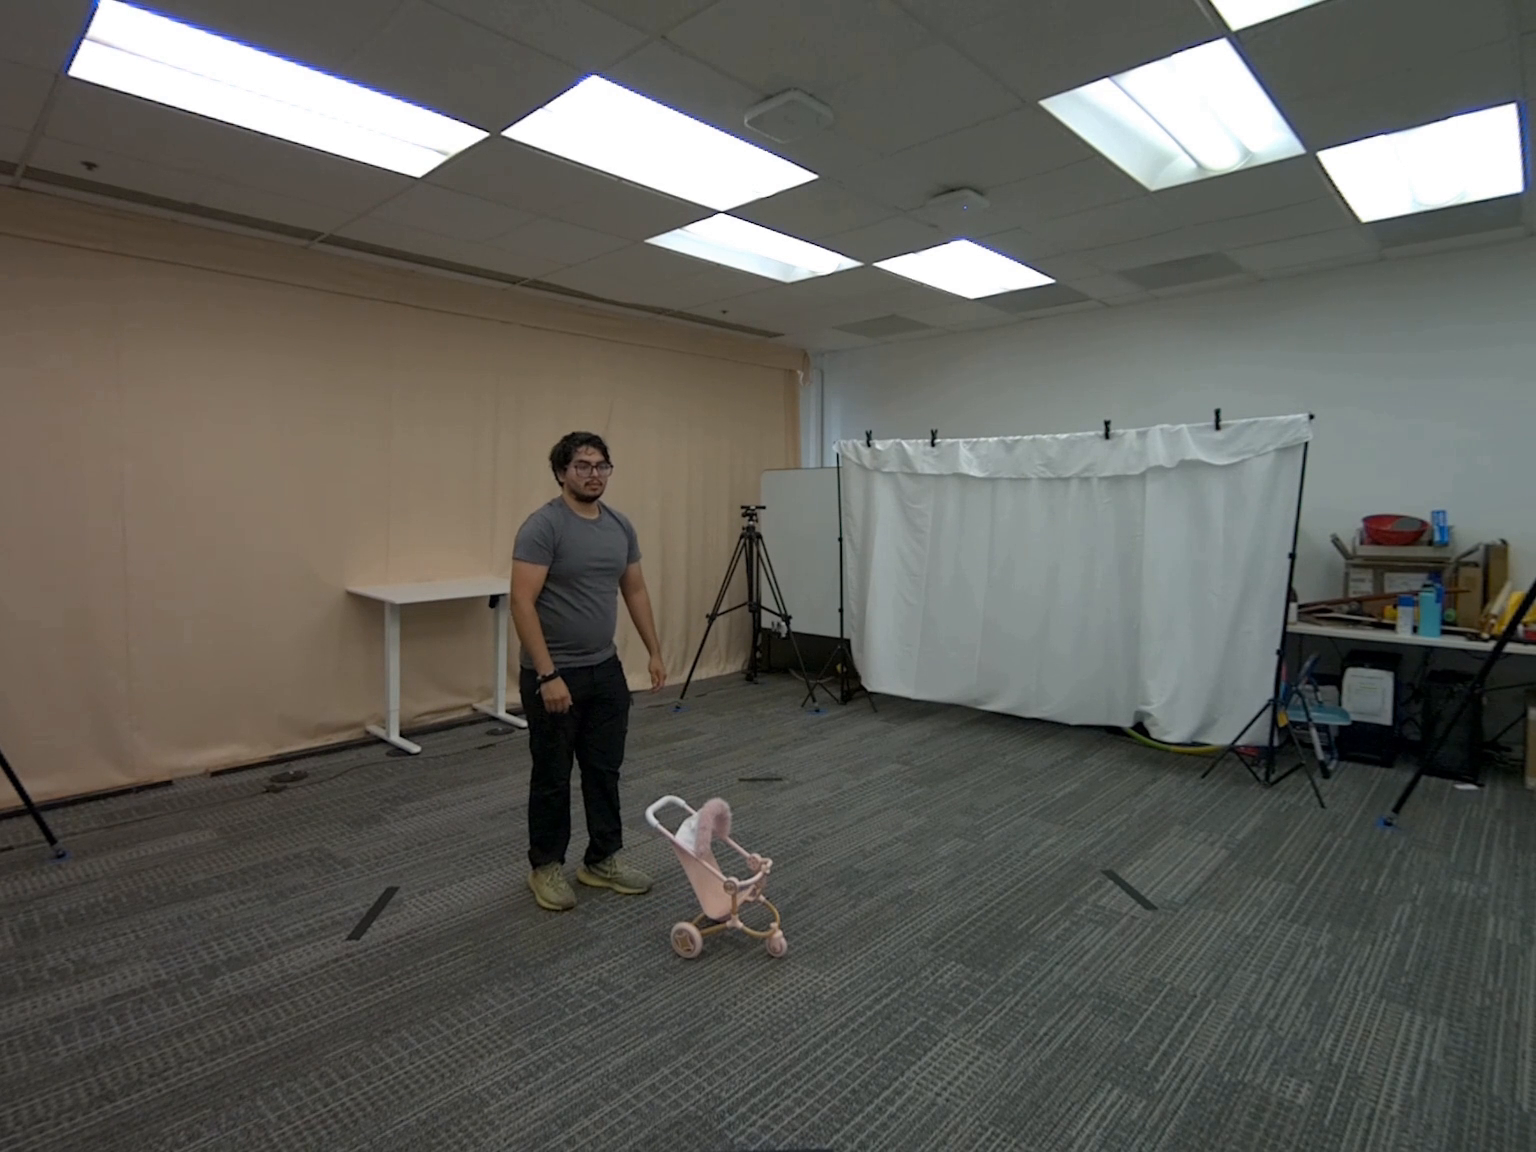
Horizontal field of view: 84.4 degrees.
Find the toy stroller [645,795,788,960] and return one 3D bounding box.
[{"bbox_3d":[-0.148,0.952,2.665,0.348,0.537,0.274,-18,-5,28],"label":"toy stroller"}]
